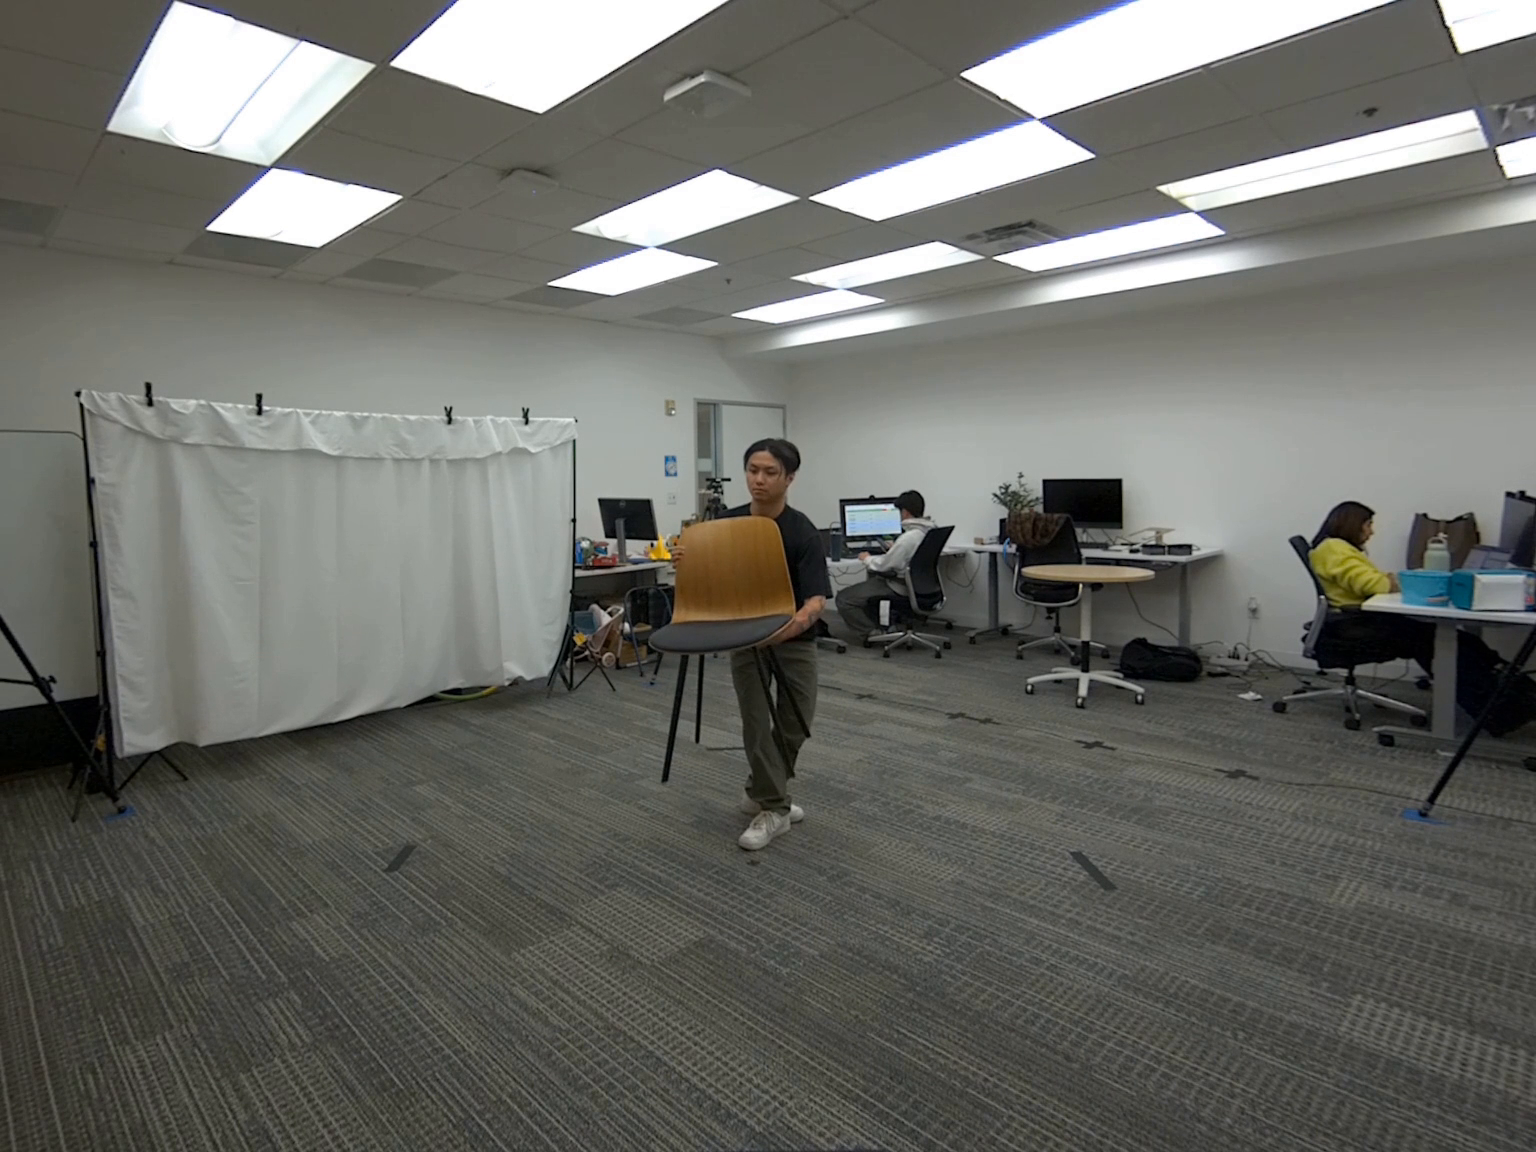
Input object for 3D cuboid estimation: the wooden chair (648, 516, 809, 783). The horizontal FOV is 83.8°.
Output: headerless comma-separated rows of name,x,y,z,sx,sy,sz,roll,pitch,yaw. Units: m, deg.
wooden chair,-0.153,0.233,2.999,0.483,0.878,0.517,-6,-1,12
